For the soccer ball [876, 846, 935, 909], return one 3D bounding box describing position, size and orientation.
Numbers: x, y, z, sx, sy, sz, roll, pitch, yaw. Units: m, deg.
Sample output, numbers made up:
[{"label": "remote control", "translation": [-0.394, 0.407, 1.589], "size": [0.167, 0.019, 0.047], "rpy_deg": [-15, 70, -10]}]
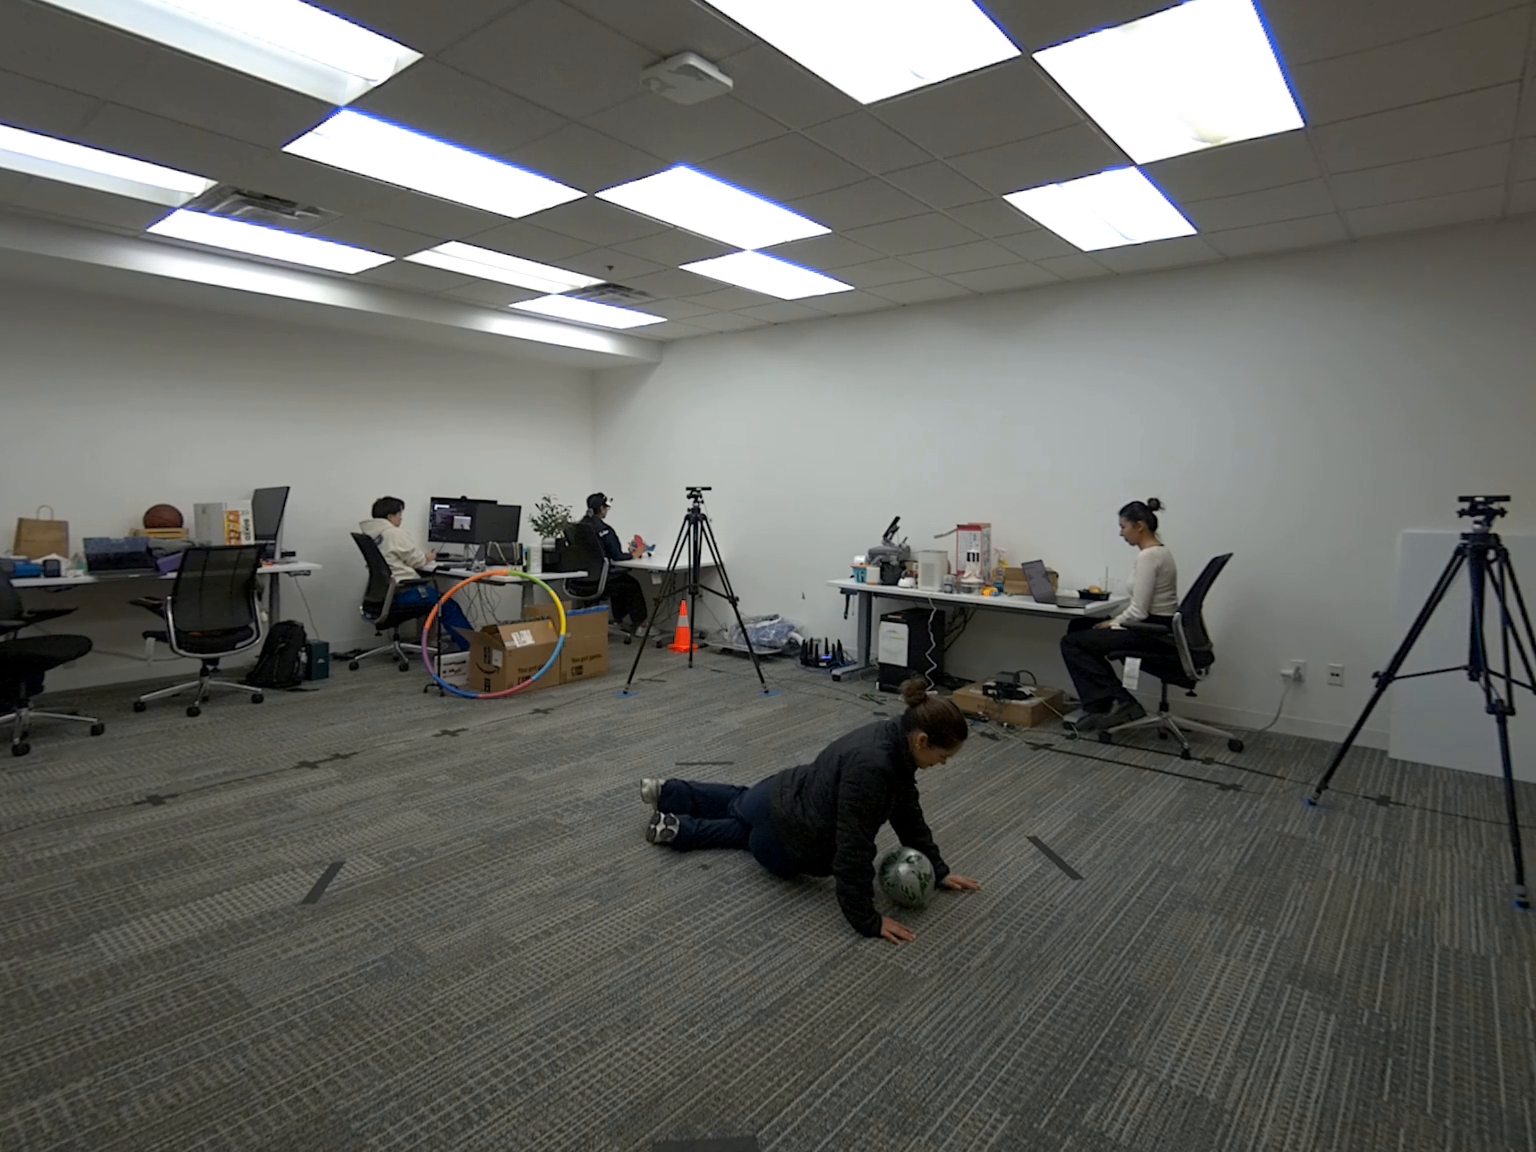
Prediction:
[{"label": "soccer ball", "translation": [0.459, 1.016, 2.865], "size": [0.187, 0.187, 0.188], "rpy_deg": [1, 4, -2]}]
